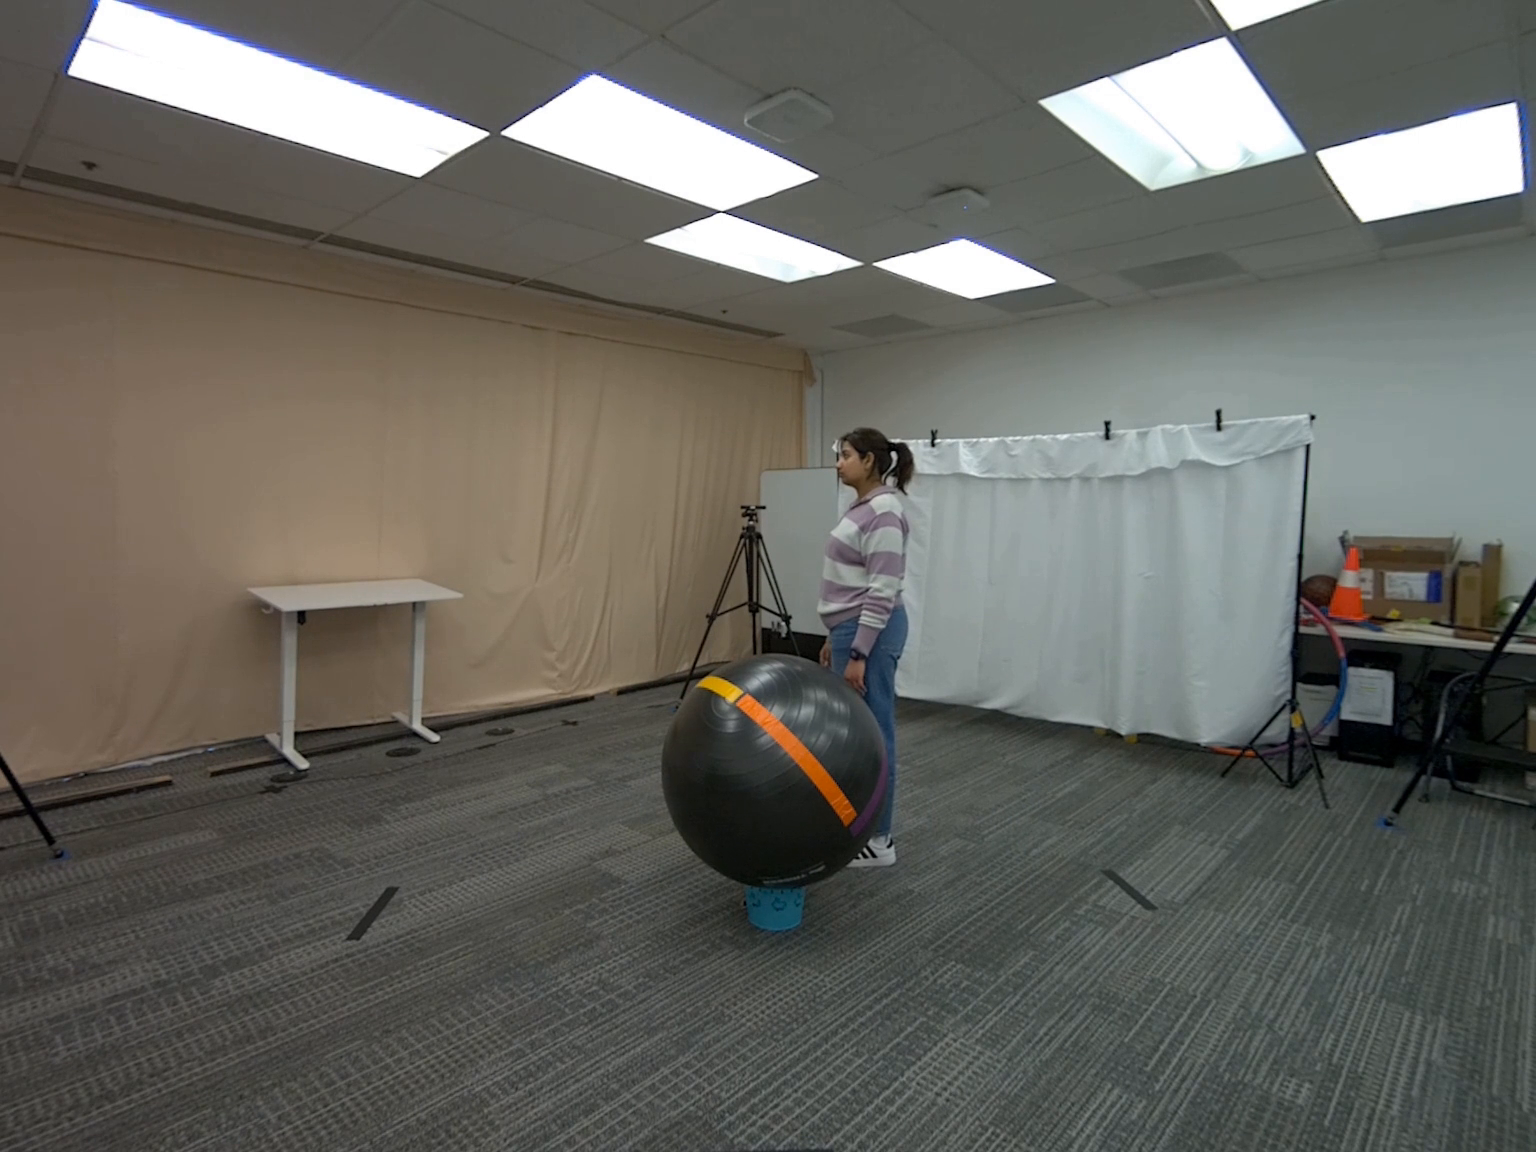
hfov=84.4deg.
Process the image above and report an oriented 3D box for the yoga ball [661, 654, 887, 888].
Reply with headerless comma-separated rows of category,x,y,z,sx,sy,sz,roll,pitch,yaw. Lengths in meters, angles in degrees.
yoga ball,0.019,0.646,2.827,0.757,0.756,0.760,0,4,-2
